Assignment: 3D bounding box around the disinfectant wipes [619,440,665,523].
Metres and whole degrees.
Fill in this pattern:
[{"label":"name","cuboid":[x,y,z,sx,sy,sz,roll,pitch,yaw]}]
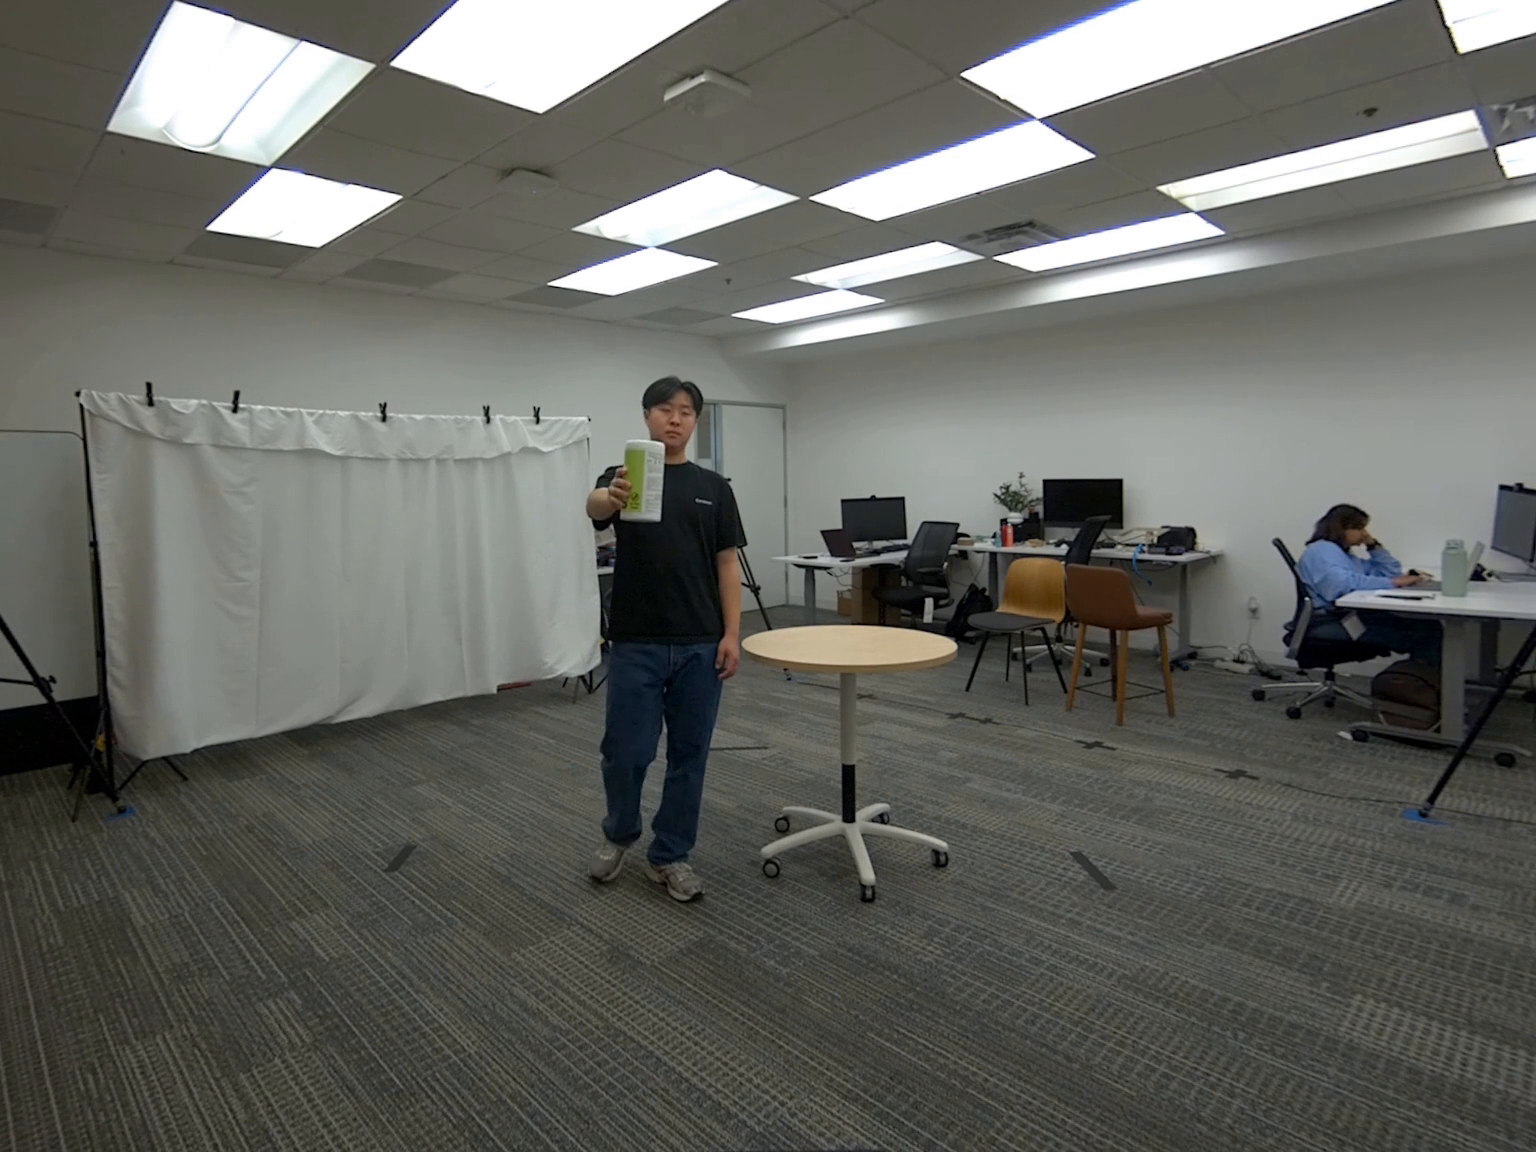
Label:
[{"label":"disinfectant wipes","cuboid":[-0.341,-0.254,2.314,0.118,0.217,0.118,5,1,-2]}]
